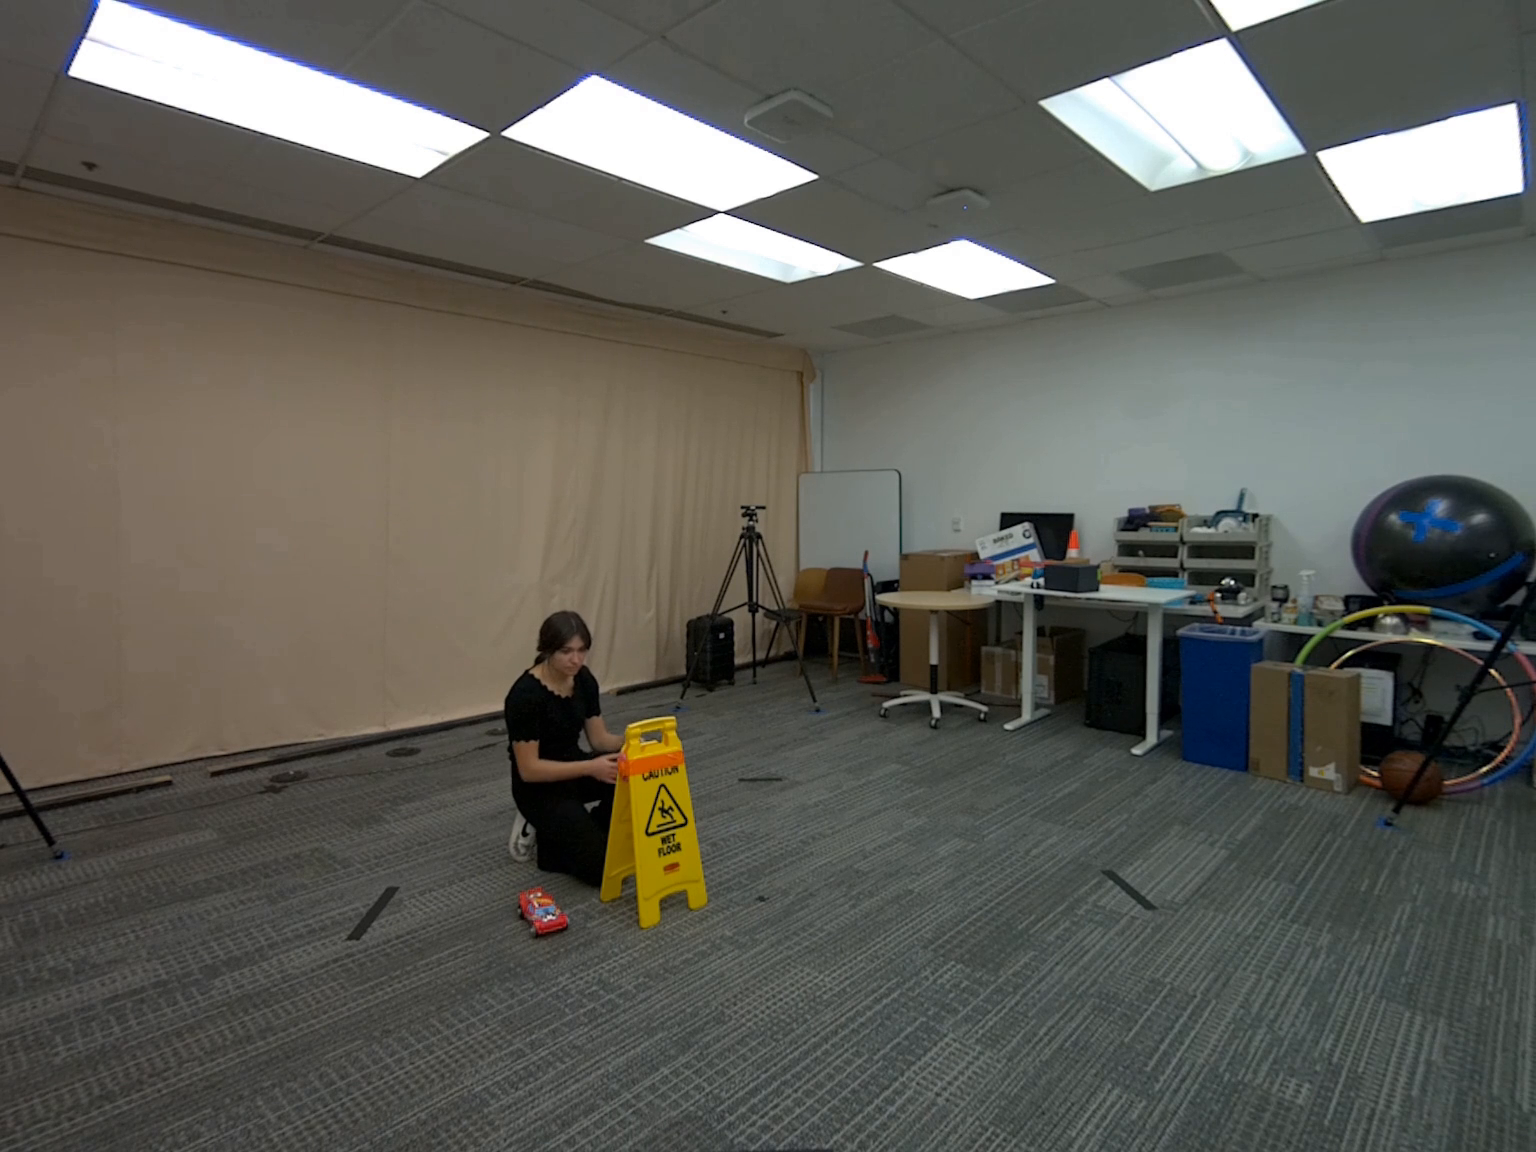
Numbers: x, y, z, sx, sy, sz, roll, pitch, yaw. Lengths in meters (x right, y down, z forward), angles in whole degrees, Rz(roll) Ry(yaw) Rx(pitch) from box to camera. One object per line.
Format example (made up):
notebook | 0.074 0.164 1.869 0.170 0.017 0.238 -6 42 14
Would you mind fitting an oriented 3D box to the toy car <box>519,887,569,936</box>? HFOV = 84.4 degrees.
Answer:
toy car | -0.762 1.125 2.840 0.127 0.082 0.263 -4 15 -30
